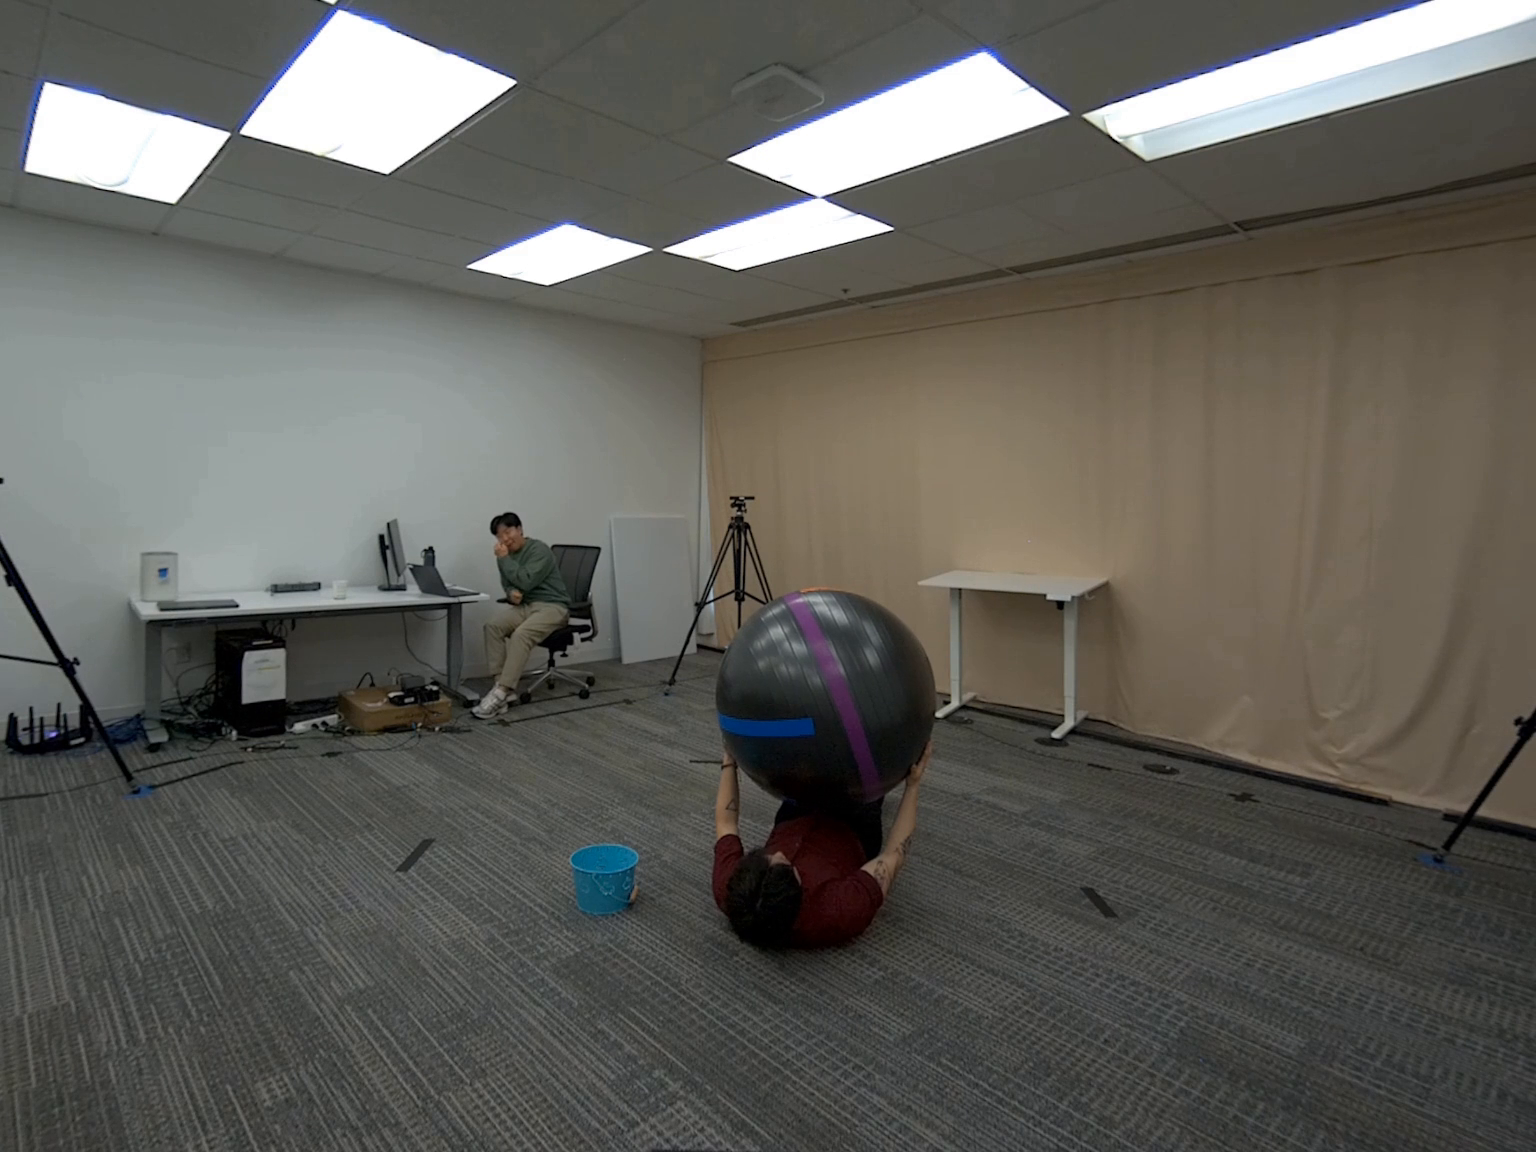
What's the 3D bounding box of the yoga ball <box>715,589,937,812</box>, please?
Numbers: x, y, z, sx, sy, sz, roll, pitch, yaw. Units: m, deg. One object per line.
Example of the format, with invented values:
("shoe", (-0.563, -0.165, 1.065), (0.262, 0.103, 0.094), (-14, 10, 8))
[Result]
("yoga ball", (0.194, 0.424, 2.945), (0.757, 0.756, 0.761), (1, 4, -1))
